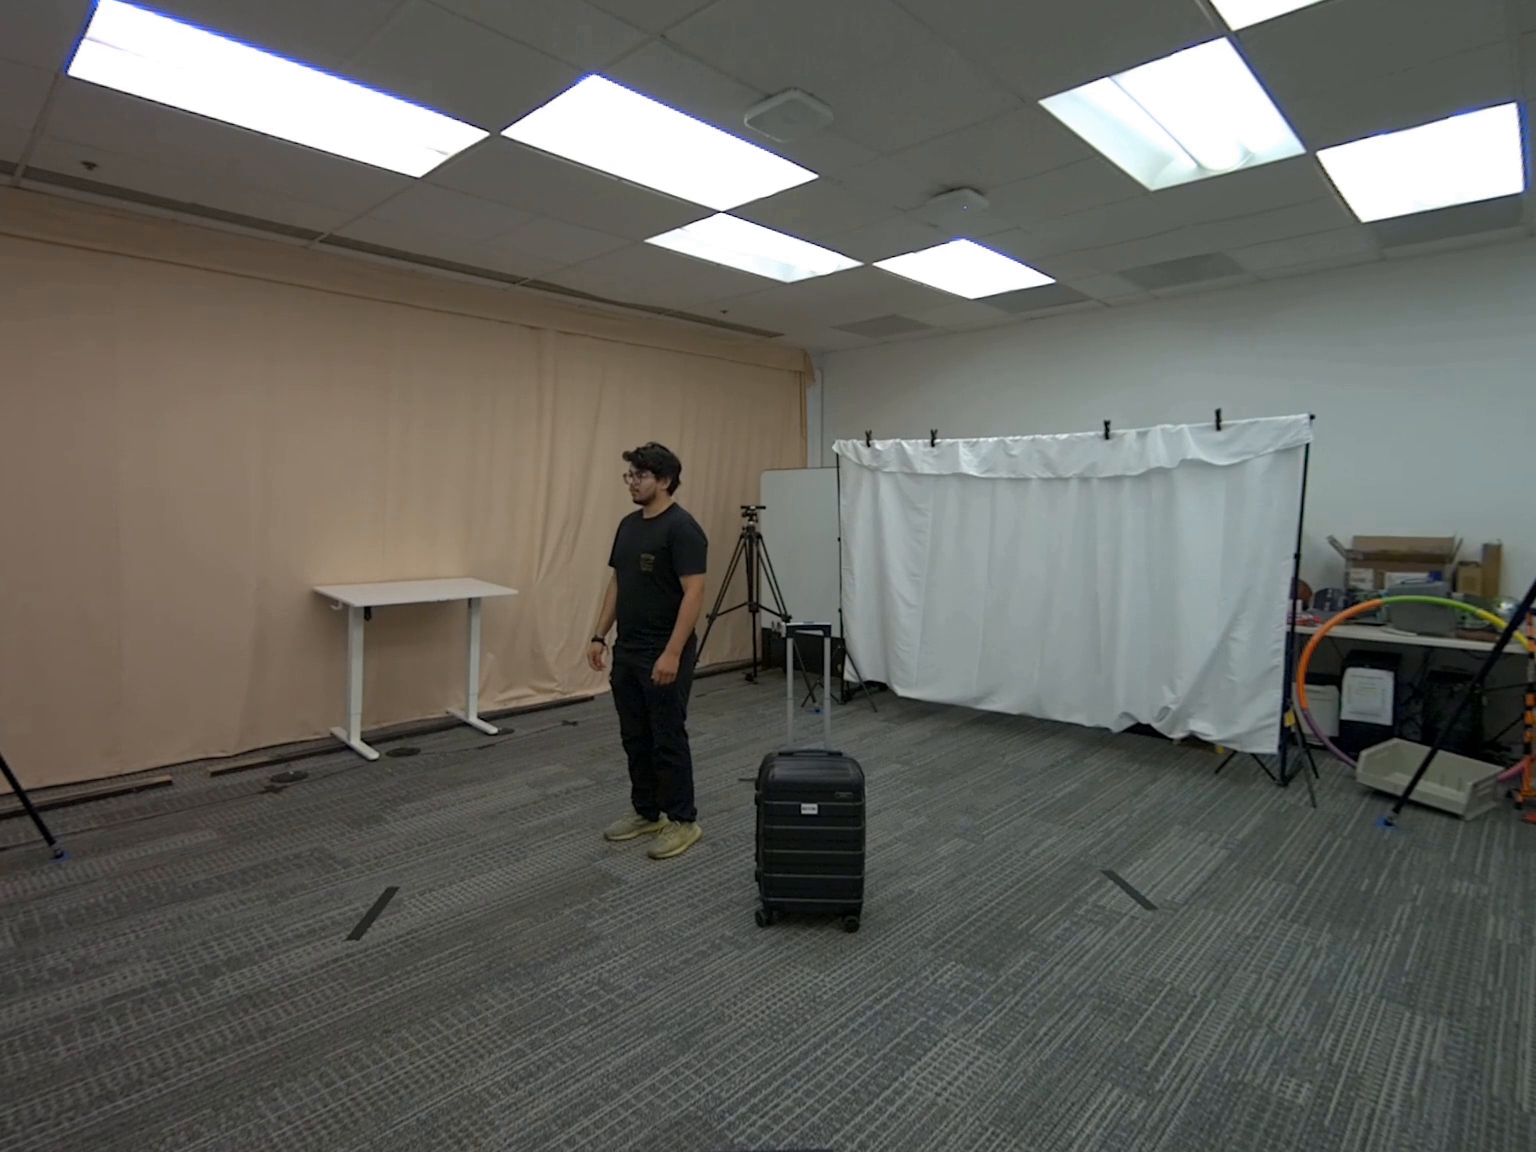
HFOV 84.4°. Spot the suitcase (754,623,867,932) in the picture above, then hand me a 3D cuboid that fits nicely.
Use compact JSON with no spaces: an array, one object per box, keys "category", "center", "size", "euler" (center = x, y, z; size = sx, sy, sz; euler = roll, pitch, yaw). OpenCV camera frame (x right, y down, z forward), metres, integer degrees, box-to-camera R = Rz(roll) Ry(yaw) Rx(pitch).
[{"category":"suitcase","center":[0.151,0.679,2.846],"size":[0.385,0.975,0.257],"euler":[0,5,2]}]
